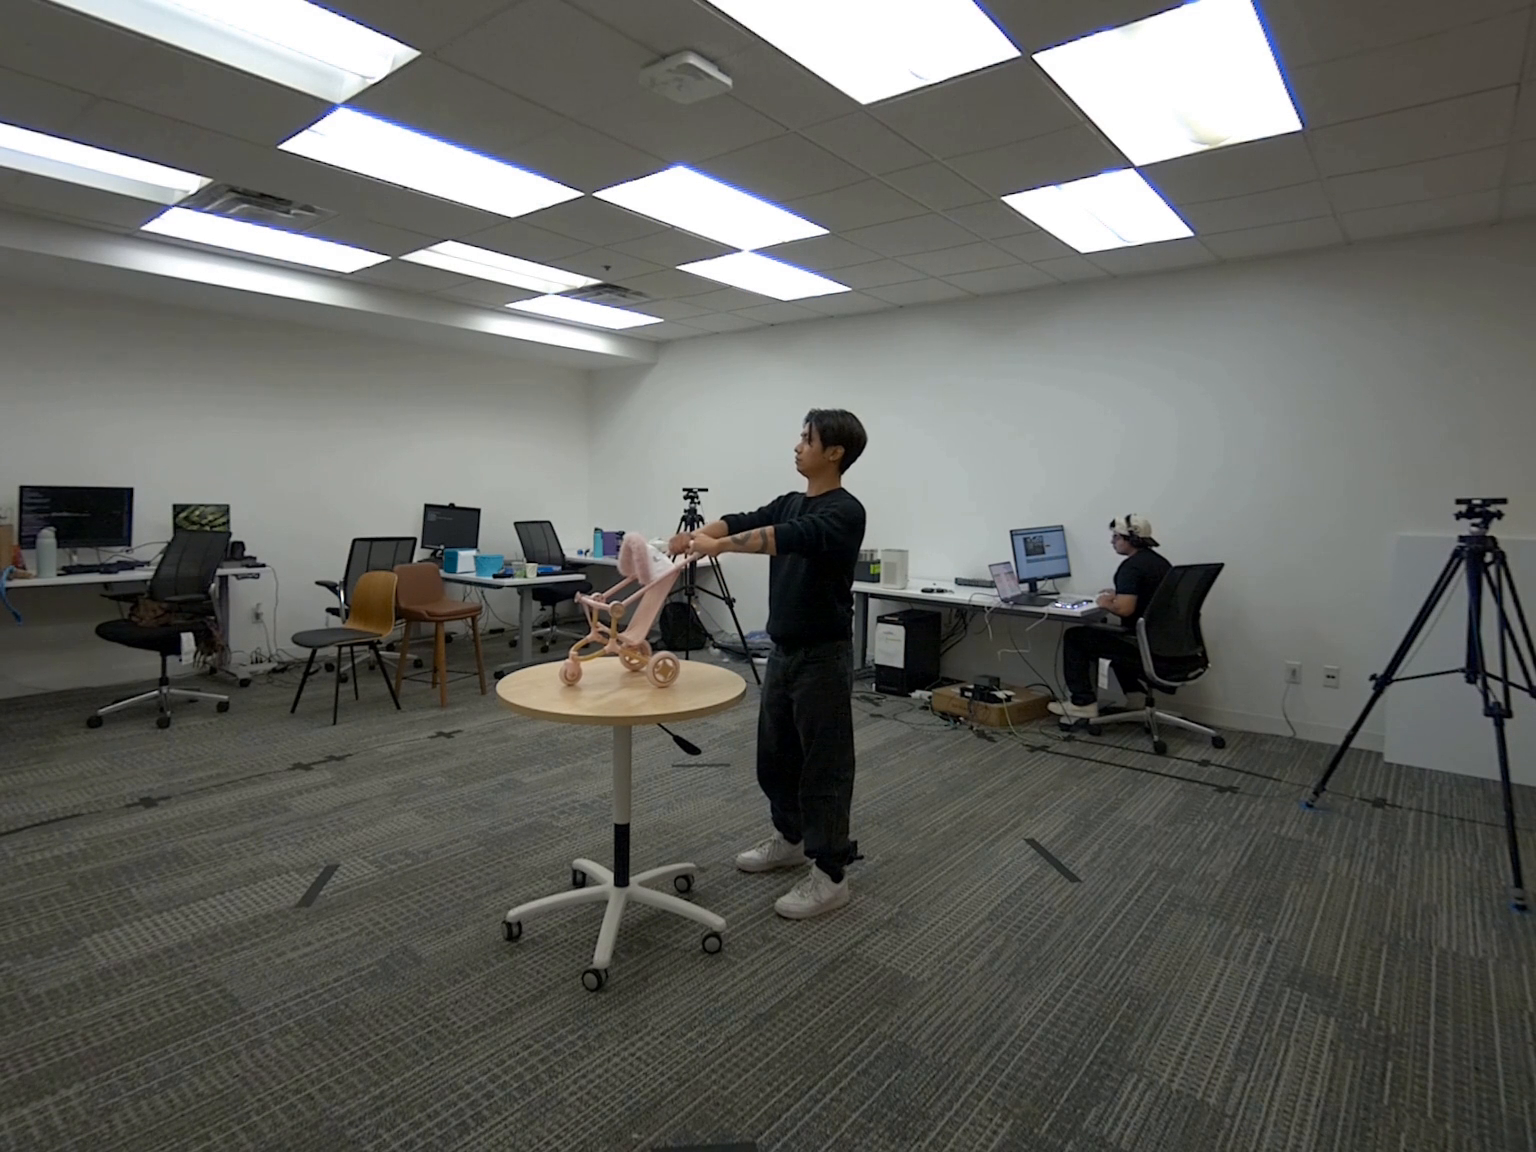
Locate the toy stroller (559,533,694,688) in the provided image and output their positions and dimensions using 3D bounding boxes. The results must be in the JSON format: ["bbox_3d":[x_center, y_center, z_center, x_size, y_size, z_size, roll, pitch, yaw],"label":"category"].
[{"bbox_3d":[-0.445,0.102,2.656,0.332,0.535,0.289,15,-1,-23],"label":"toy stroller"}]
